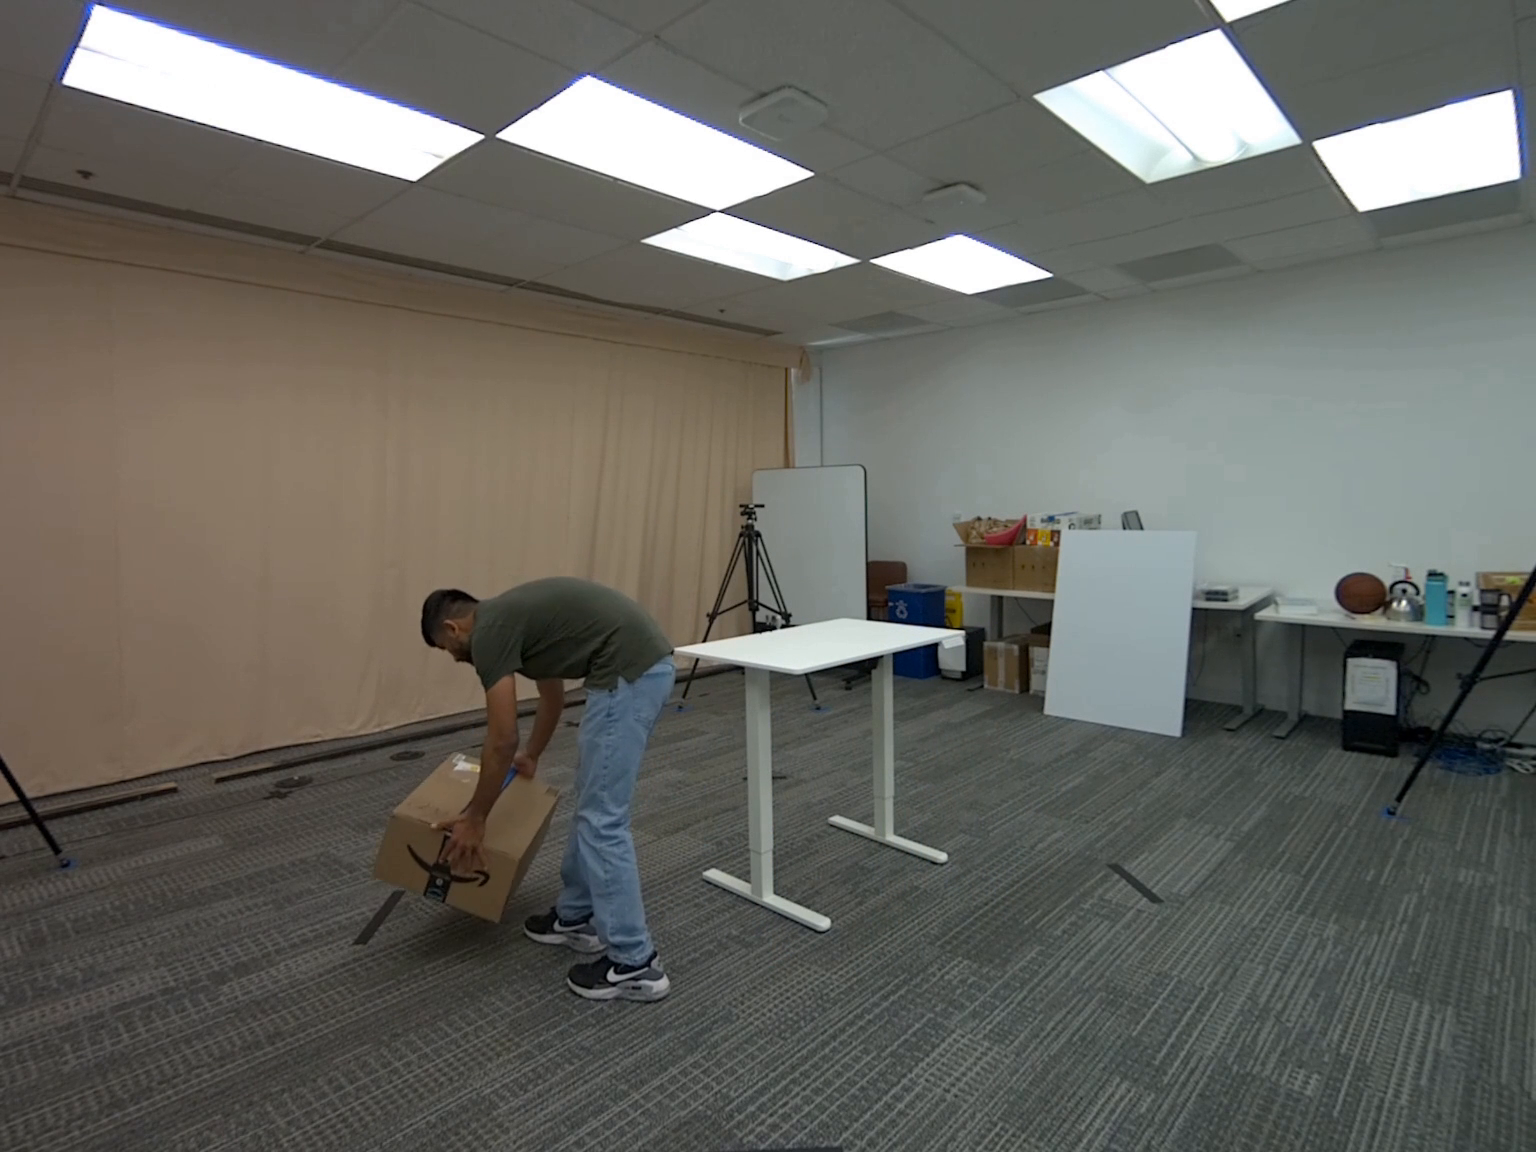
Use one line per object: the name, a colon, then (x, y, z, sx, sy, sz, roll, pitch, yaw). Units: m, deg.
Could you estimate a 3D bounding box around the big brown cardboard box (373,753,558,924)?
big brown cardboard box: (-0.975, 0.834, 2.797, 0.417, 0.233, 0.591, 18, 6, -3)
